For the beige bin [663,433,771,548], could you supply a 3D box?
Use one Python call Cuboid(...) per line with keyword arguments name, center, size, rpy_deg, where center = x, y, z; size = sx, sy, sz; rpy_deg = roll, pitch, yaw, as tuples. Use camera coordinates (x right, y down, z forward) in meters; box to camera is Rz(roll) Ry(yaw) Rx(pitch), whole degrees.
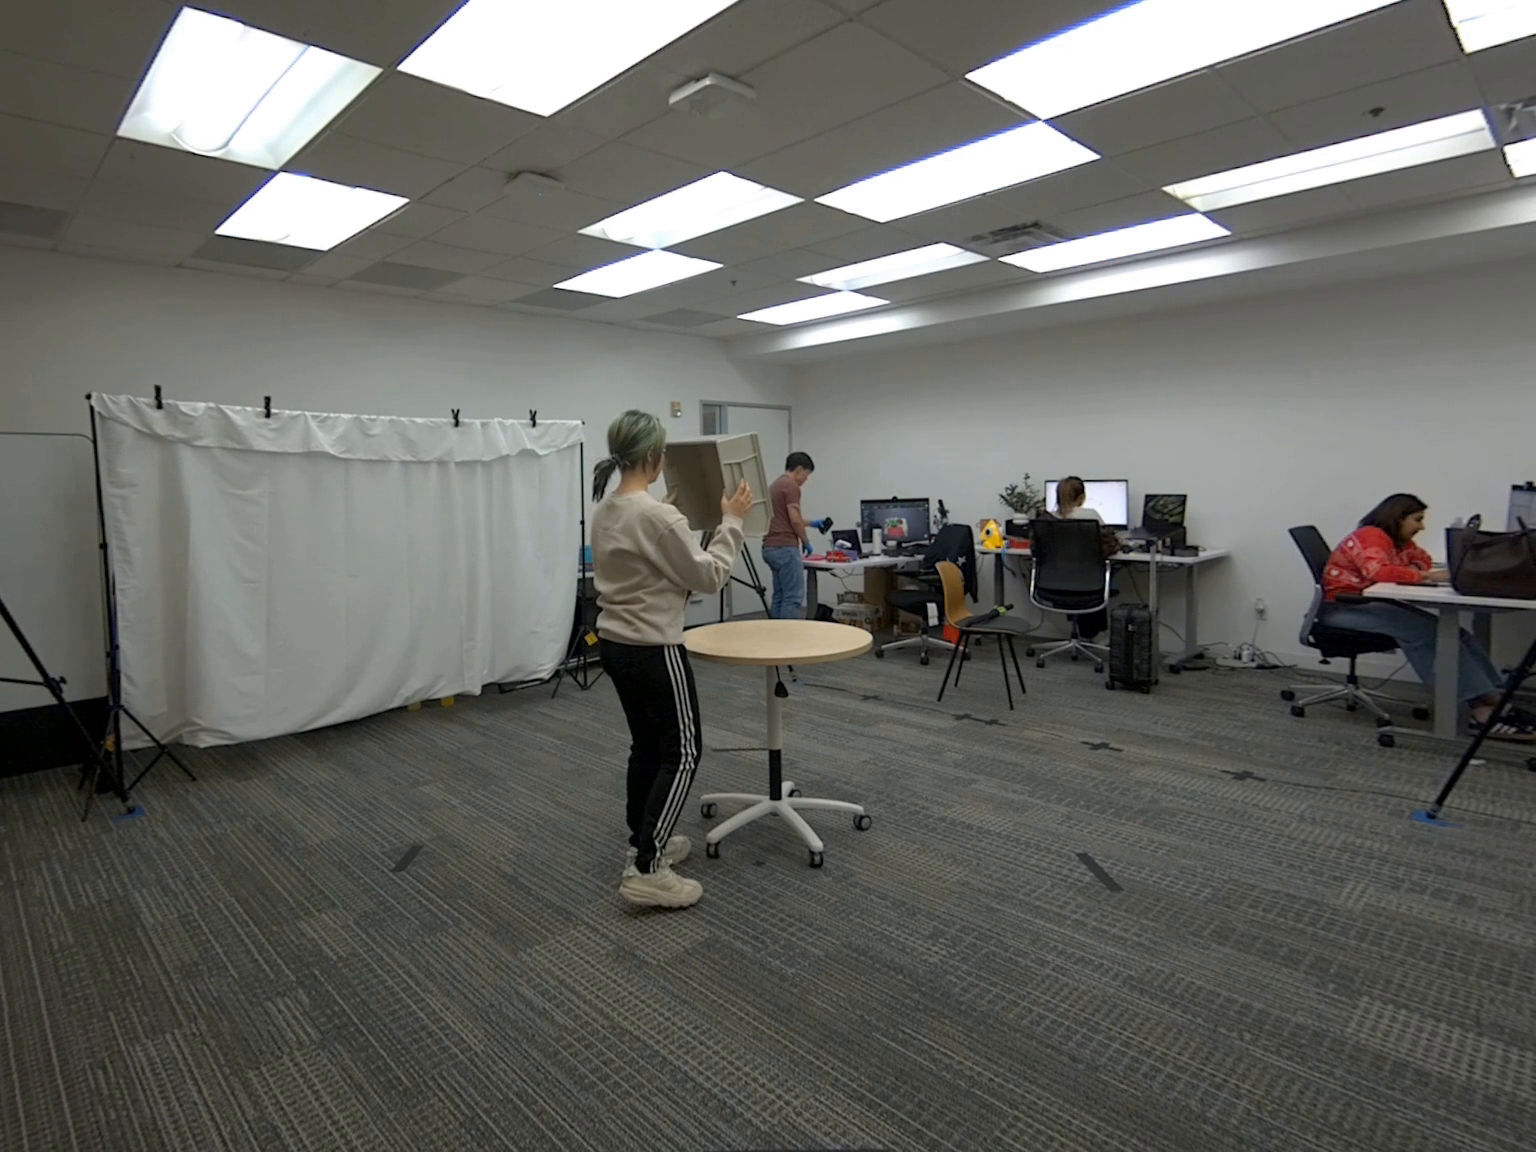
Cuboid(name="beige bin", center=(-0.195, -0.332, 3.159), size=(0.186, 0.372, 0.435), rpy_deg=(-19, 16, -32))
